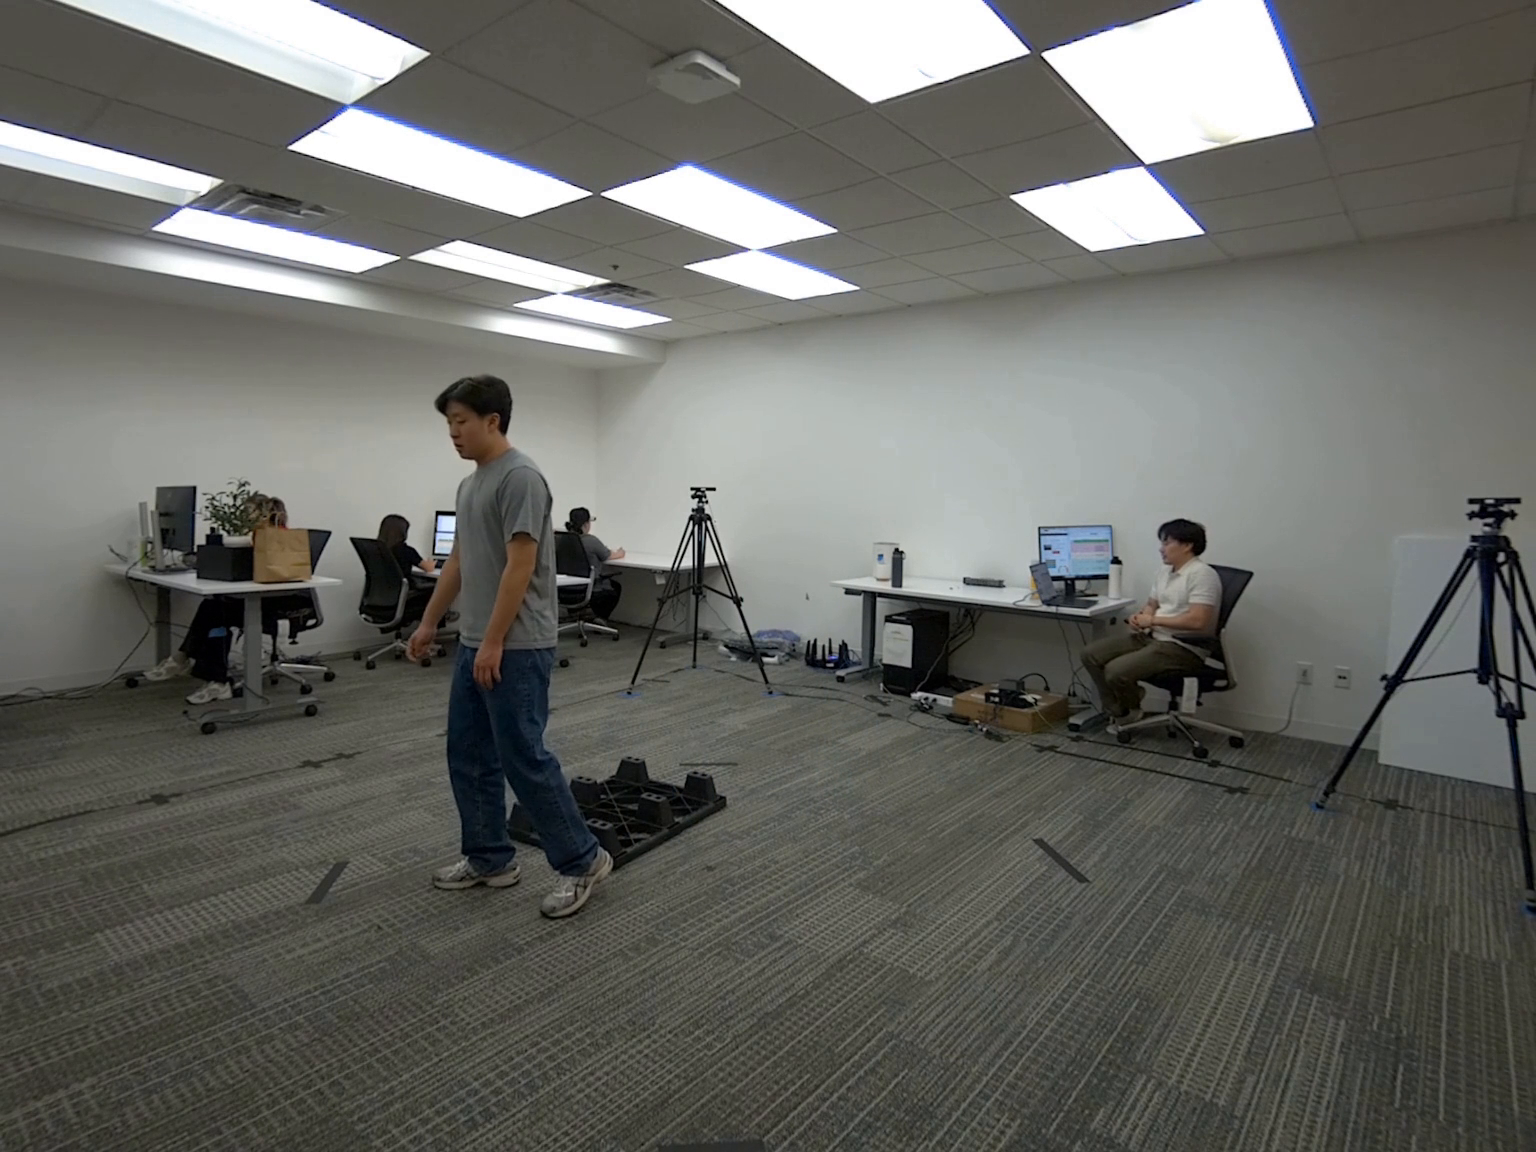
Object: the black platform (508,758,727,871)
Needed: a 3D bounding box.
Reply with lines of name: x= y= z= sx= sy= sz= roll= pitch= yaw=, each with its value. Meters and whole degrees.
black platform: x=-0.639 y=0.948 z=3.556 sx=0.623 sy=0.143 sz=0.785 roll=4 pitch=6 yaw=30
